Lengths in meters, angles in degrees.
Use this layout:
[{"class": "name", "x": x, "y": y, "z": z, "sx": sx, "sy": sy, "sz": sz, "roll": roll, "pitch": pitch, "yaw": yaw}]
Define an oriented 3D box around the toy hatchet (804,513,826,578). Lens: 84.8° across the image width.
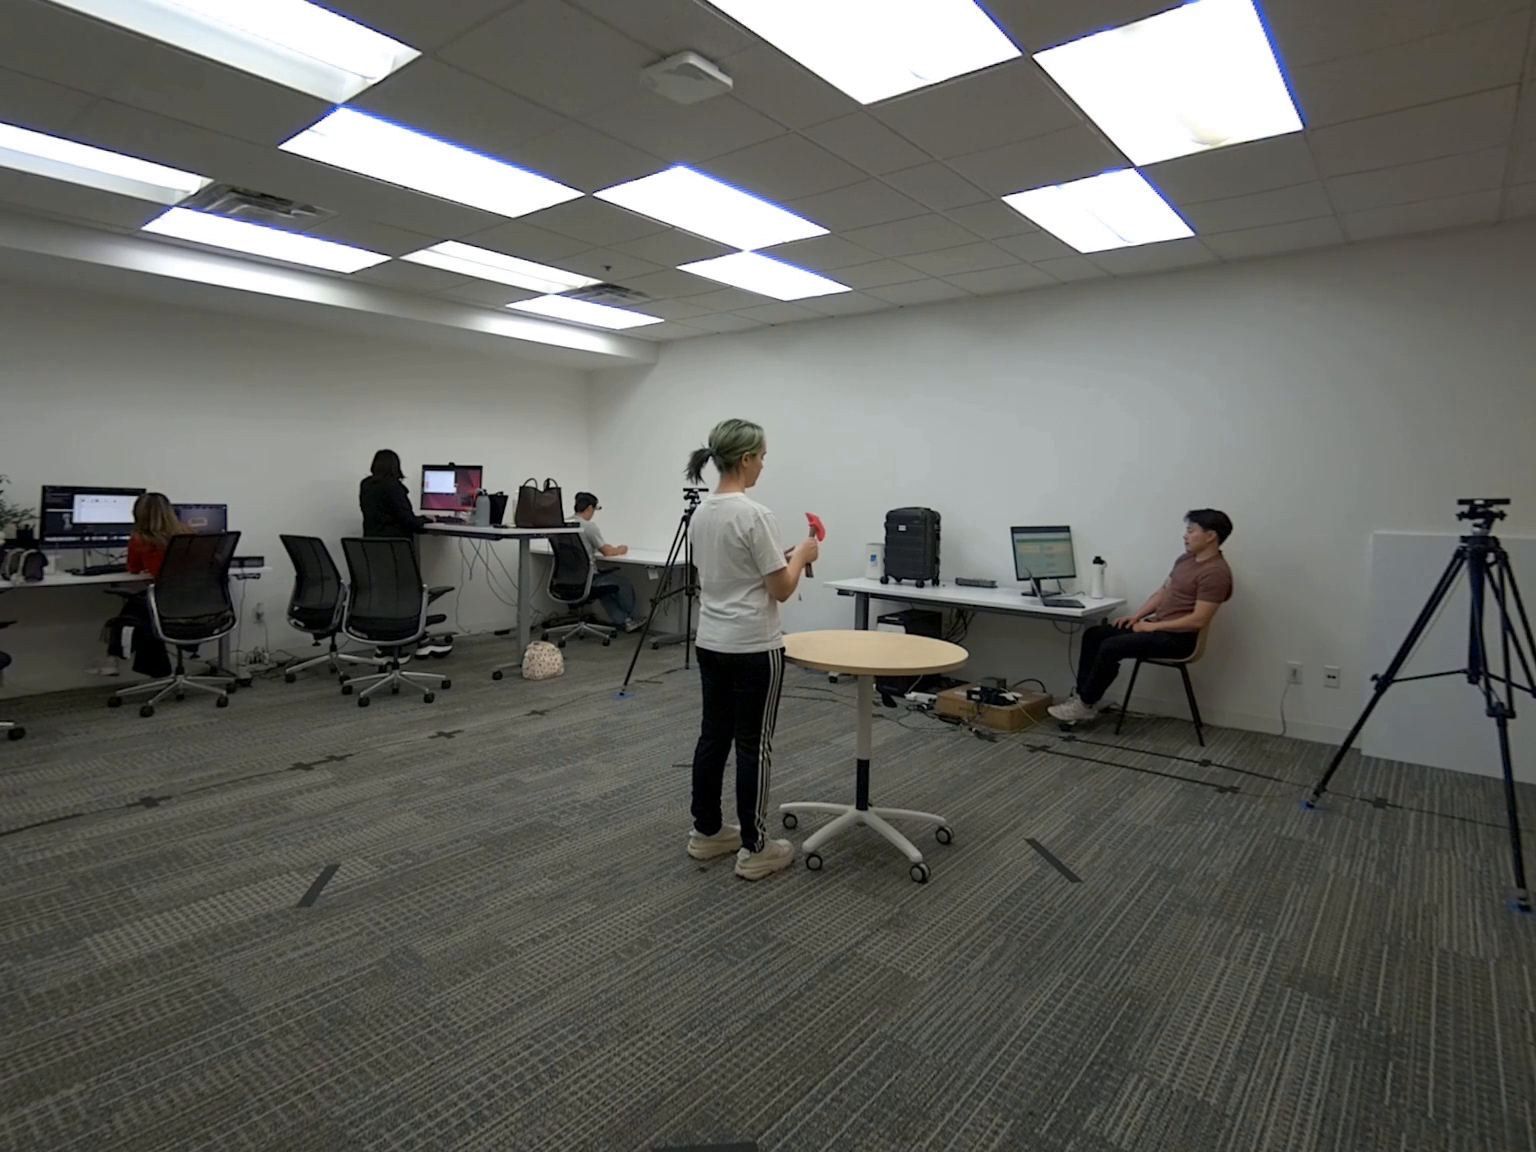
[{"class": "toy hatchet", "x": 0.174, "y": -0.110, "z": 3.265, "sx": 0.030, "sy": 0.275, "sz": 0.126, "roll": -17, "pitch": -29, "yaw": 36}]
